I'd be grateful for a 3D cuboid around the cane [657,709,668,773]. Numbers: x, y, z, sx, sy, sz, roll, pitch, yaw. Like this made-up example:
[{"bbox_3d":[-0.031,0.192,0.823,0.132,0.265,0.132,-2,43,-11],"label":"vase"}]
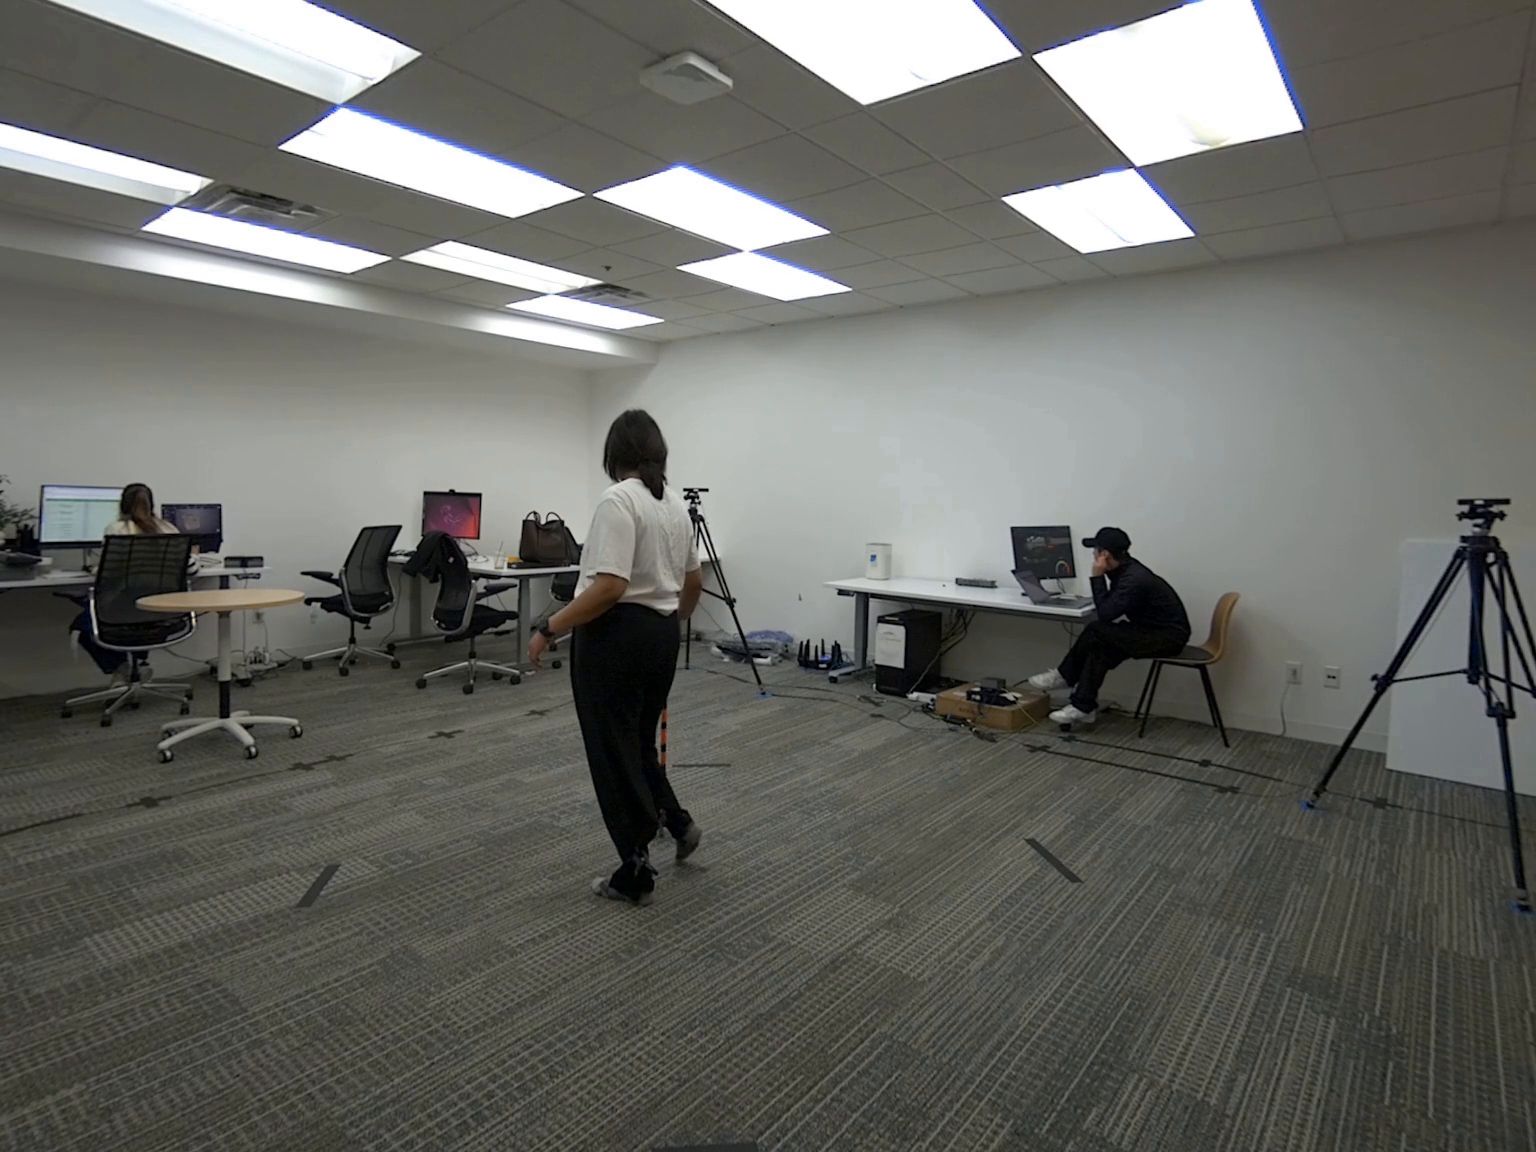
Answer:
[{"bbox_3d":[-0.423,0.581,3.392,0.205,0.906,0.153,2,2,-7],"label":"cane"}]
